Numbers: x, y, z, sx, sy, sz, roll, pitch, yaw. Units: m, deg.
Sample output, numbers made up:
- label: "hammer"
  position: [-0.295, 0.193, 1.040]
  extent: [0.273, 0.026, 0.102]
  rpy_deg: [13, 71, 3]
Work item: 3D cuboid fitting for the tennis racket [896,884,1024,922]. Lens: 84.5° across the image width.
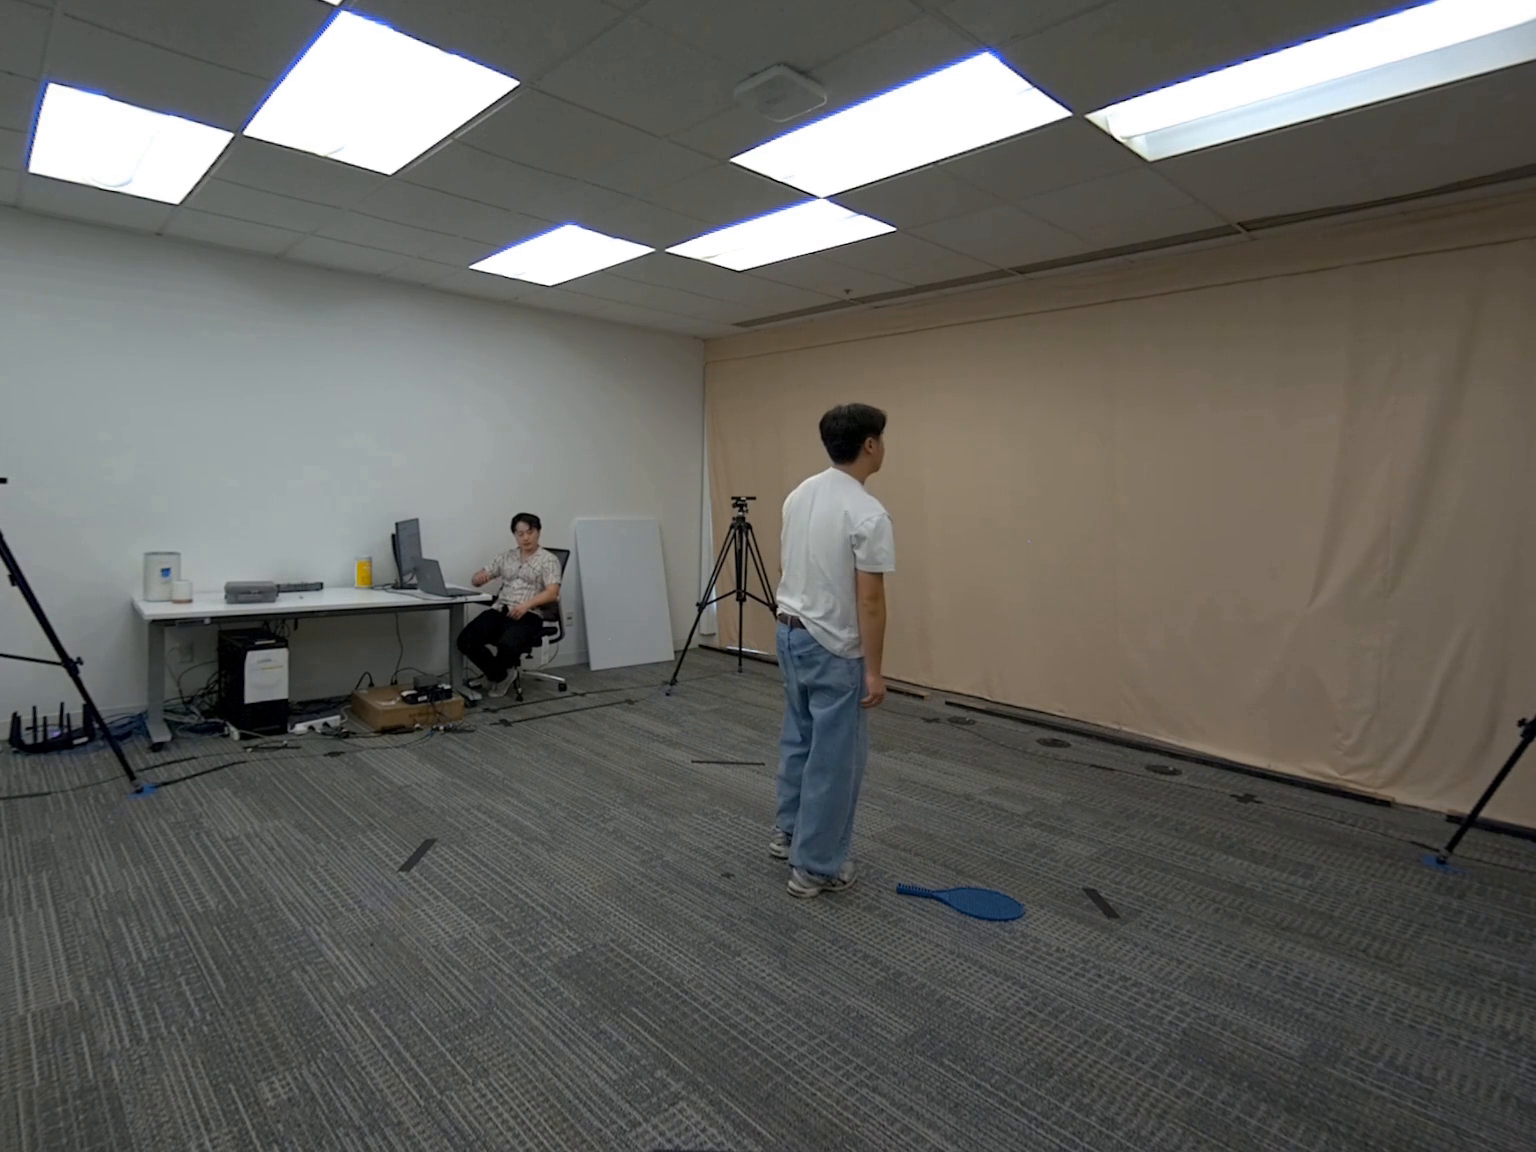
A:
- label: "tennis racket"
  position: [0.661, 1.129, 2.948]
  extent: [0.439, 0.031, 0.211]
  rpy_deg: [5, 5, 16]
